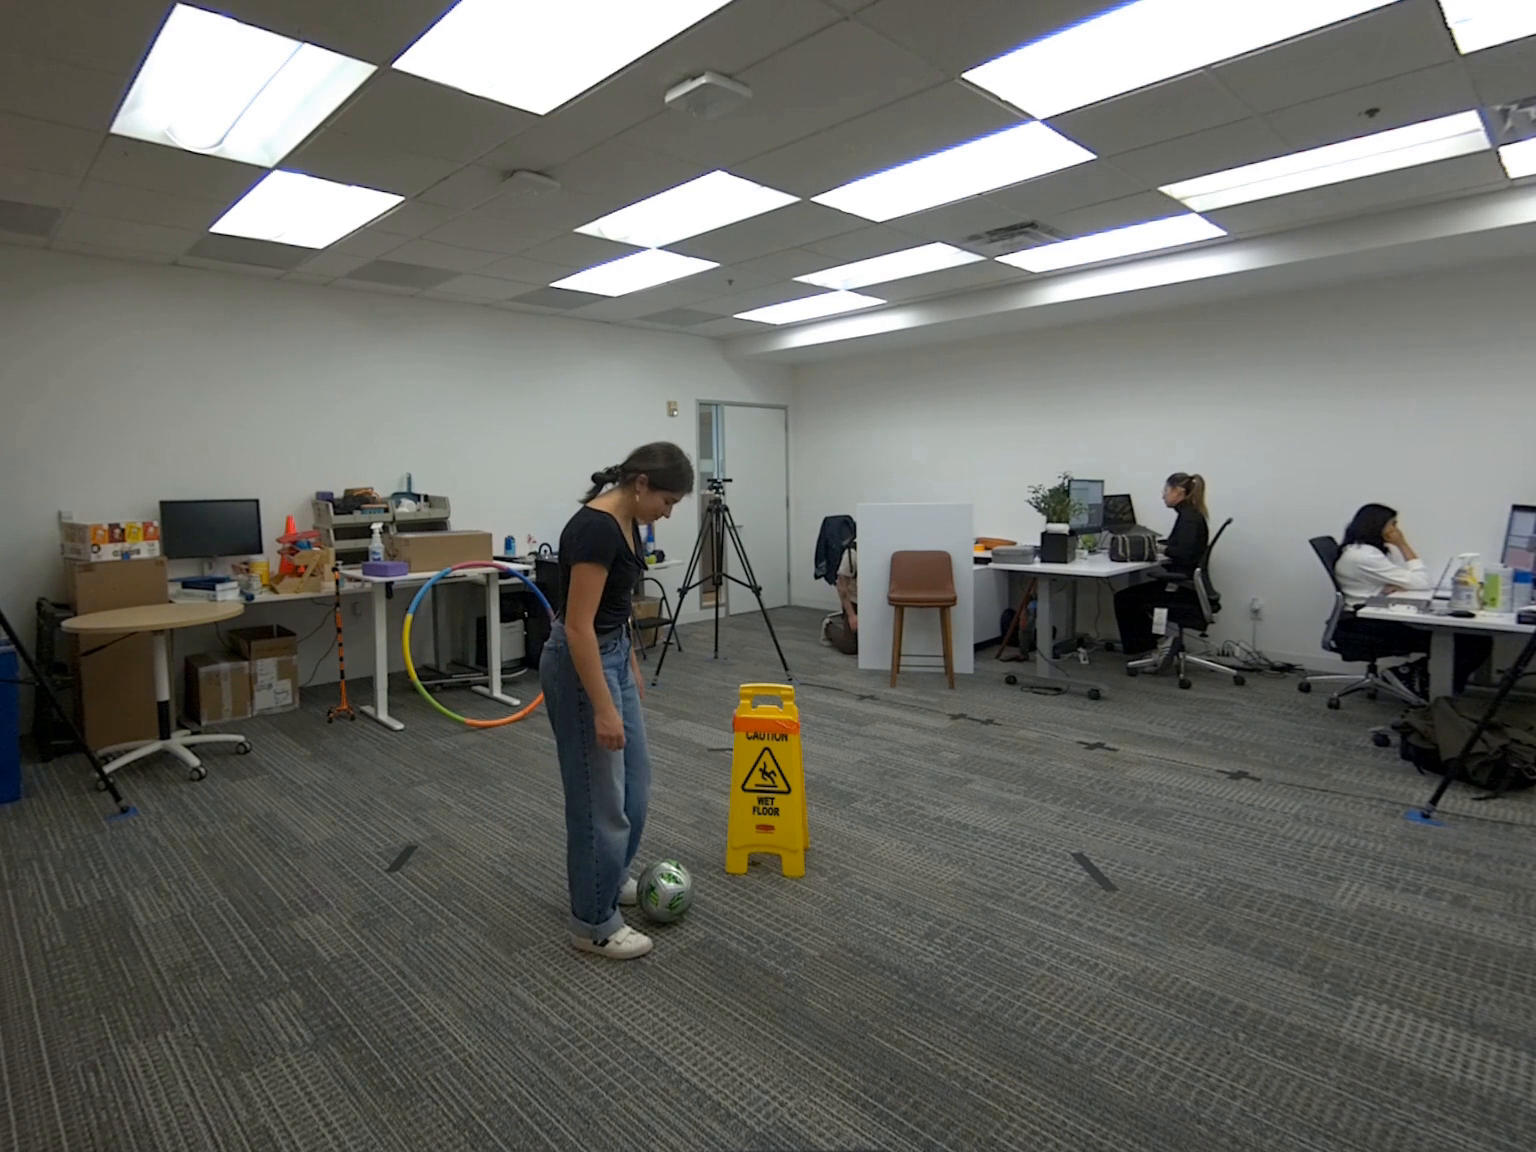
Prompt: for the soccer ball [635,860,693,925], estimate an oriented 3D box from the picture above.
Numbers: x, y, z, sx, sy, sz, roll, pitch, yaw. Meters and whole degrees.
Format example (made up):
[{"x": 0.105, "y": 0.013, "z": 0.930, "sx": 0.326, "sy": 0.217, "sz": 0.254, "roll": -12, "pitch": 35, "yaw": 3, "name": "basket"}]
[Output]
[{"x": -0.316, "y": 1.002, "z": 2.718, "sx": 0.187, "sy": 0.187, "sz": 0.188, "roll": -1, "pitch": 5, "yaw": -2, "name": "soccer ball"}]
